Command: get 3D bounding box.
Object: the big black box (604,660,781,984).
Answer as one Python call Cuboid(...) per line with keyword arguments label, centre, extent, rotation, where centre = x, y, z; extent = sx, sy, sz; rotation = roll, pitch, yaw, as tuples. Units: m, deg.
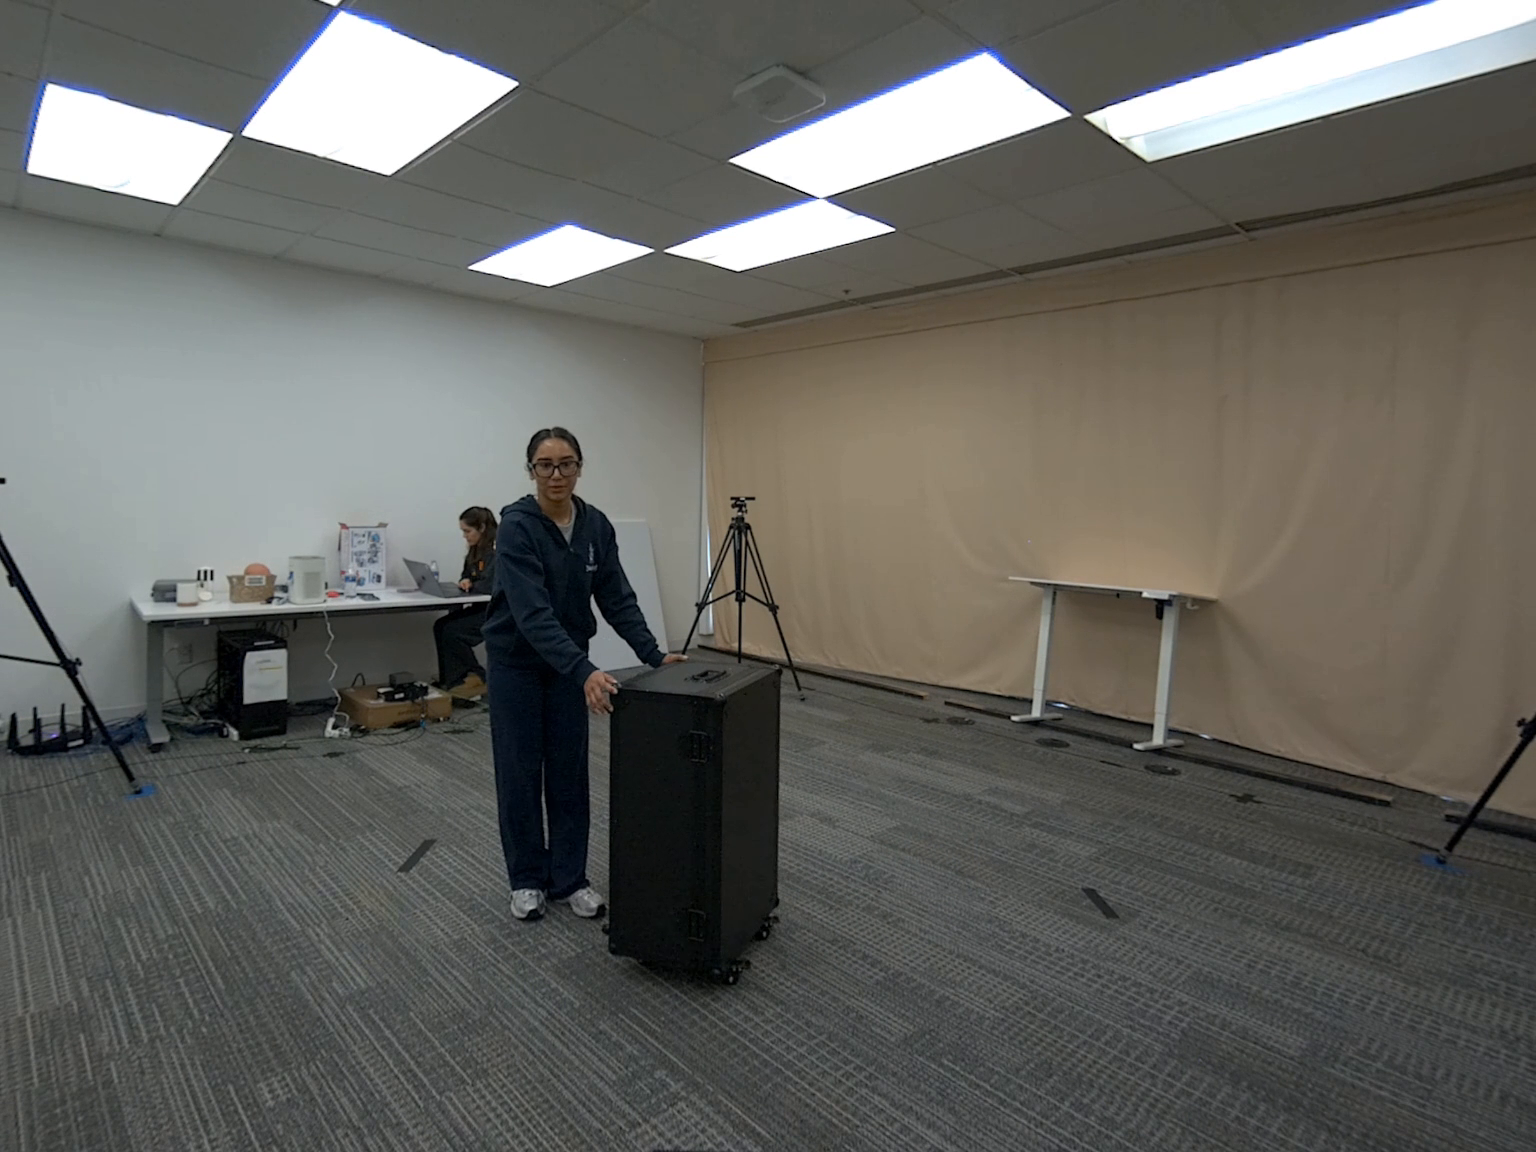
Cuboid(label="big black box", centre=(-0.222, 0.731, 2.567), extent=(0.403, 0.860, 0.513), rotation=(1, 3, 22))
